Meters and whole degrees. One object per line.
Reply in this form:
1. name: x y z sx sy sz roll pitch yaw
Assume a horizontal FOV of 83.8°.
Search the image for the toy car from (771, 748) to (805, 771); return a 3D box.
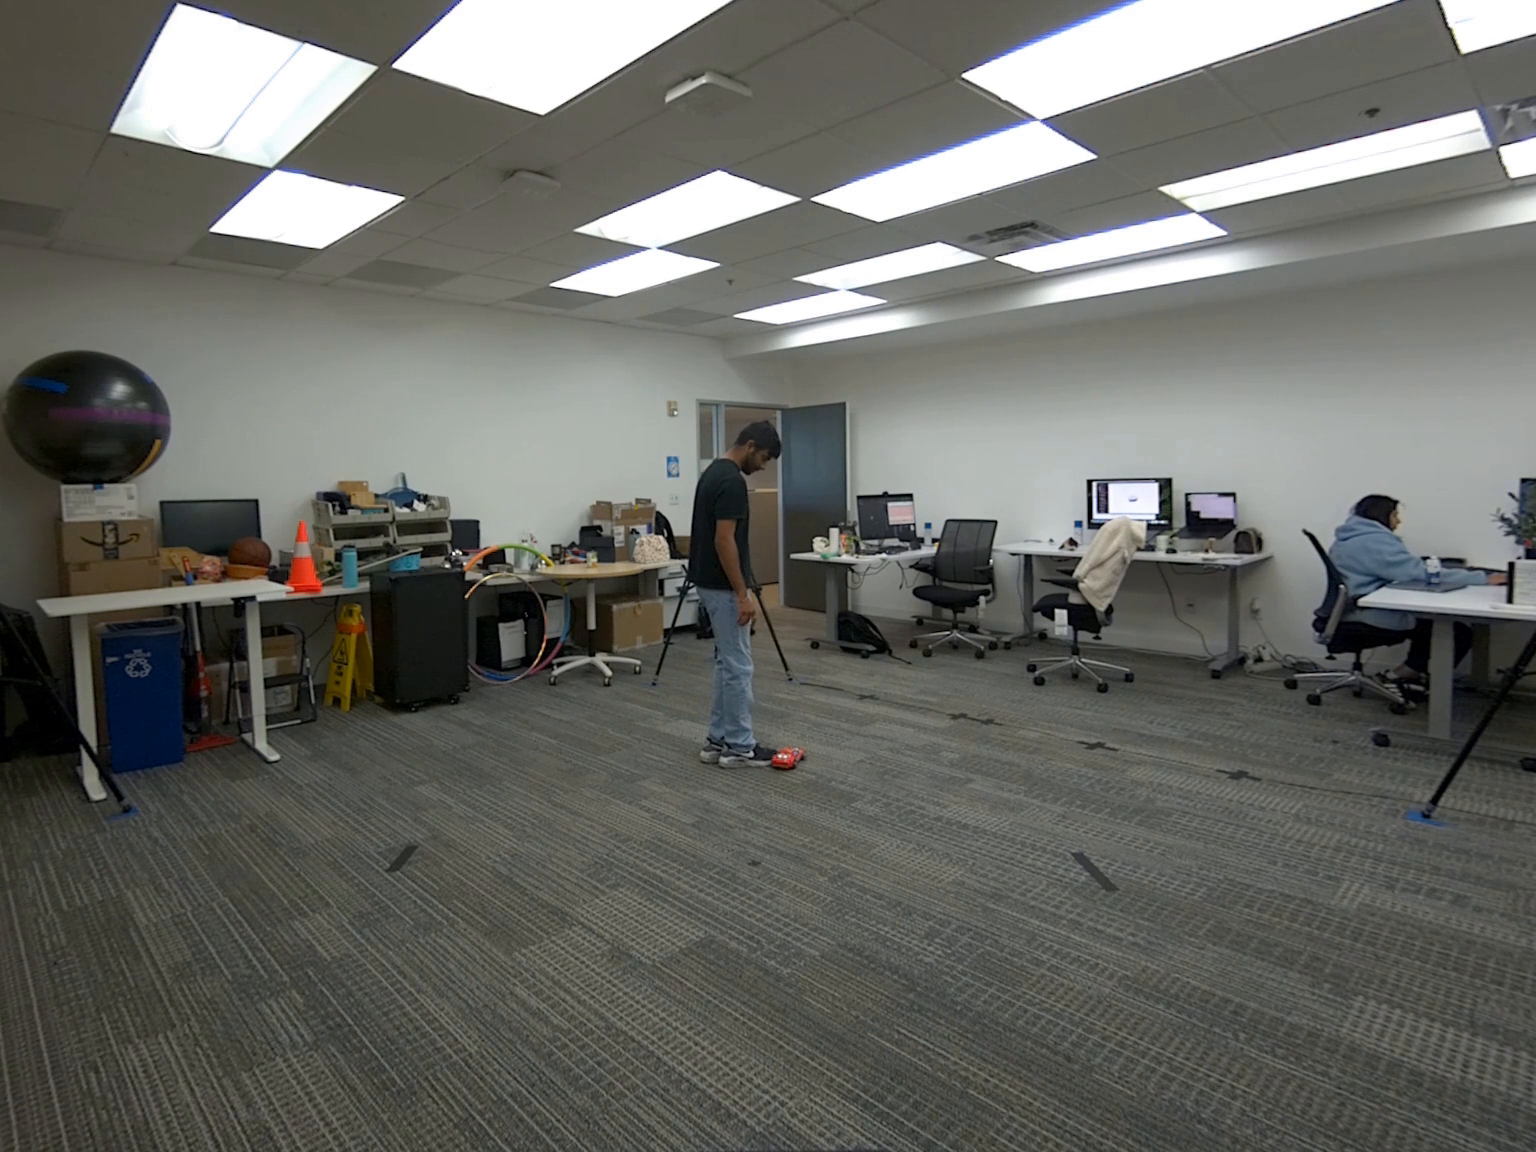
1. toy car: 0.093 0.893 4.183 0.133 0.083 0.248 3 -4 22
